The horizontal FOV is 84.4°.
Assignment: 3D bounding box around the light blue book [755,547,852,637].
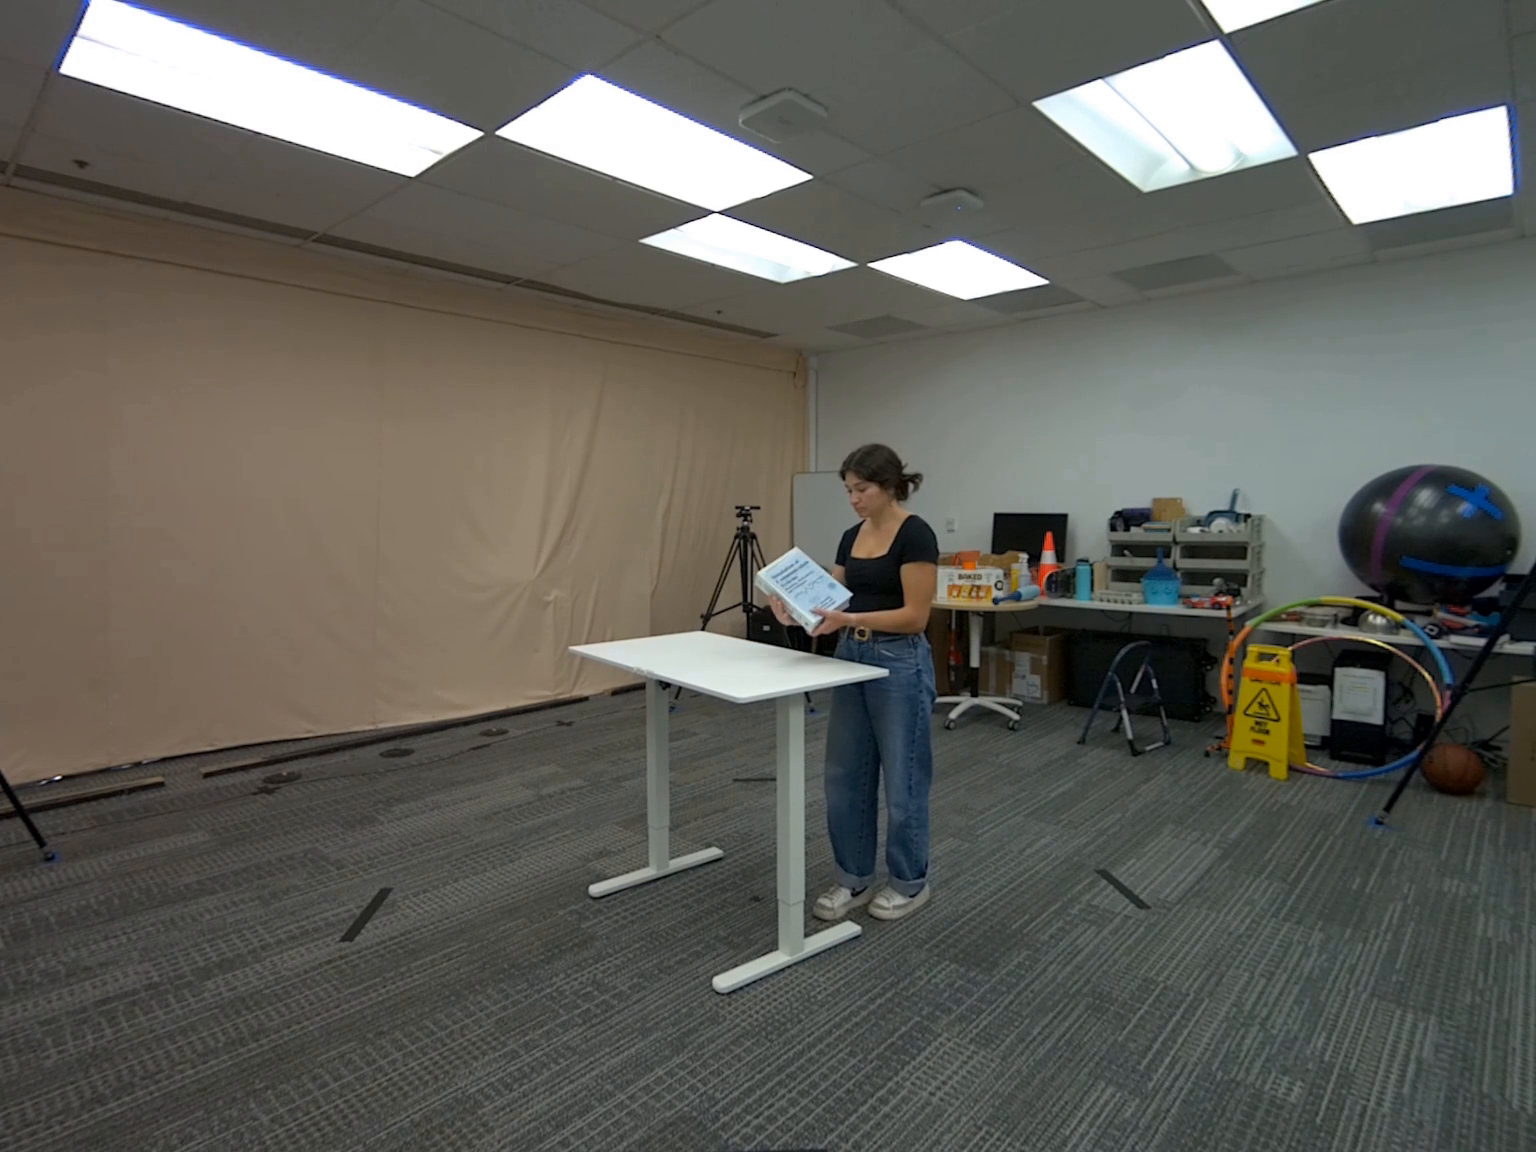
[{"bbox_3d":[0.122,0.049,2.763,0.188,0.058,0.269,-33,59,-28],"label":"light blue book"}]
